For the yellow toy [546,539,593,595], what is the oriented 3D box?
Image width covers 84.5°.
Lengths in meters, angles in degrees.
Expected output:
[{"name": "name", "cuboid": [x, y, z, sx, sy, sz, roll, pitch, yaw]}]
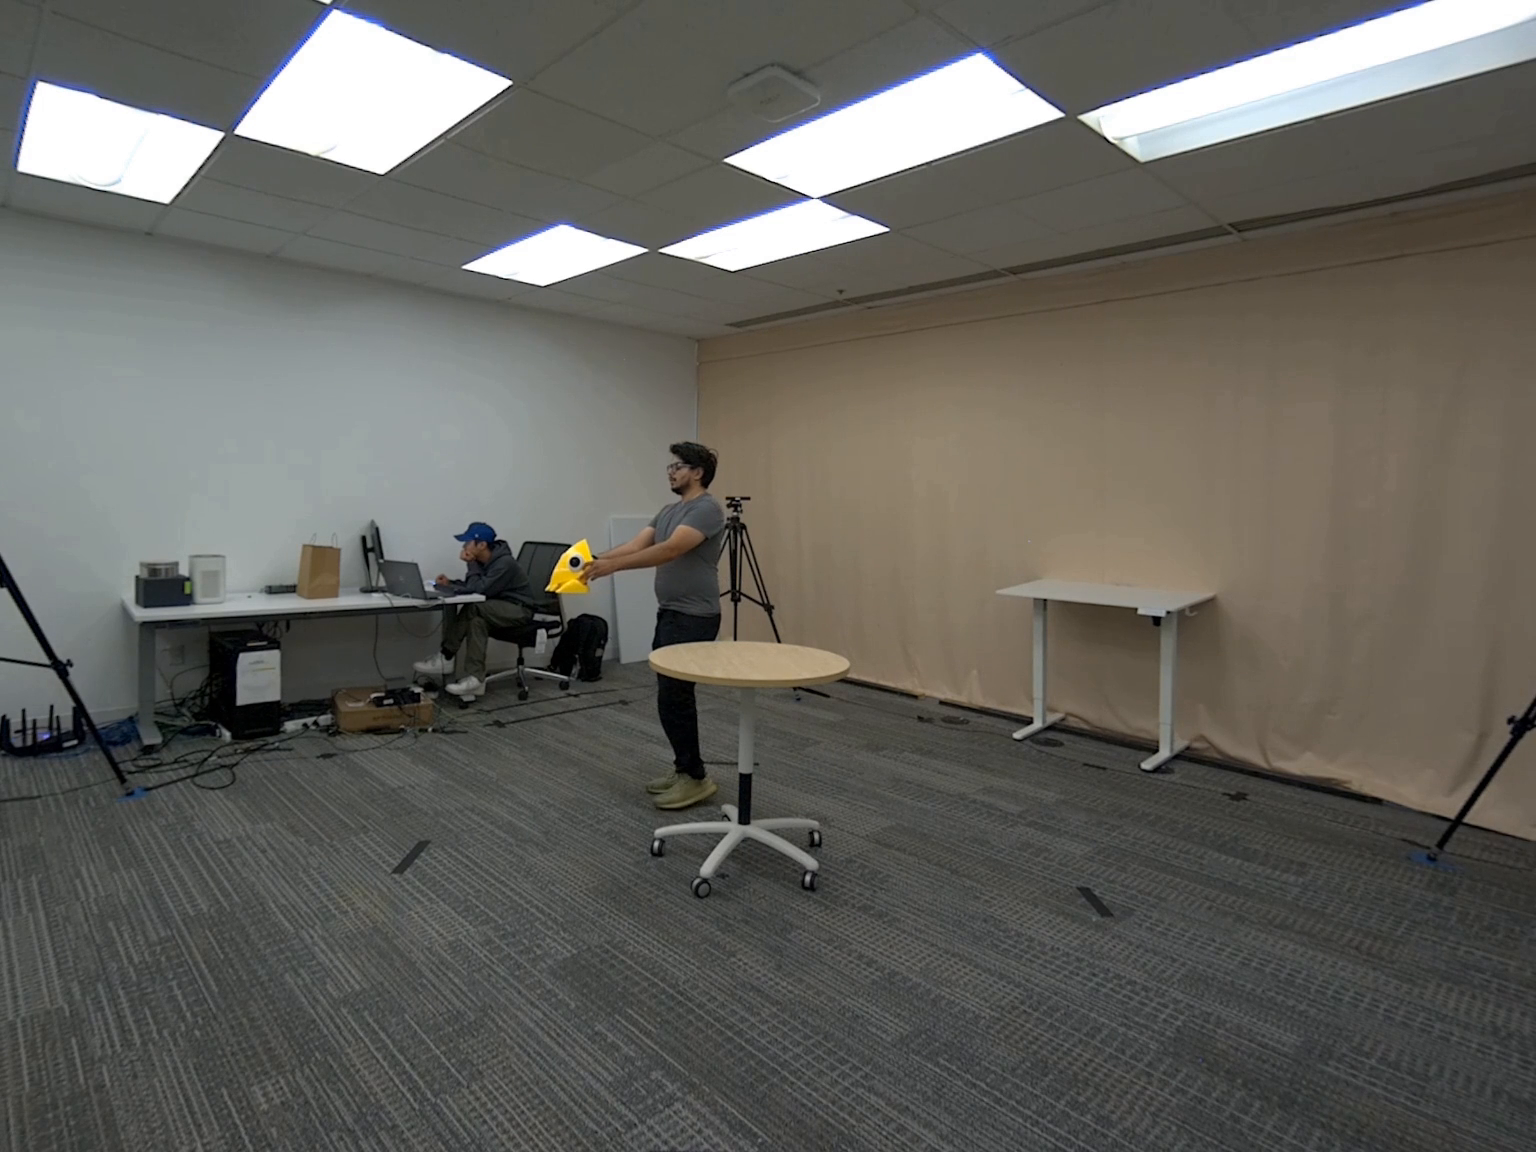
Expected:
[{"name": "yellow toy", "cuboid": [-0.874, -0.046, 3.676, 0.189, 0.230, 0.209, 2, 2, -35]}]
